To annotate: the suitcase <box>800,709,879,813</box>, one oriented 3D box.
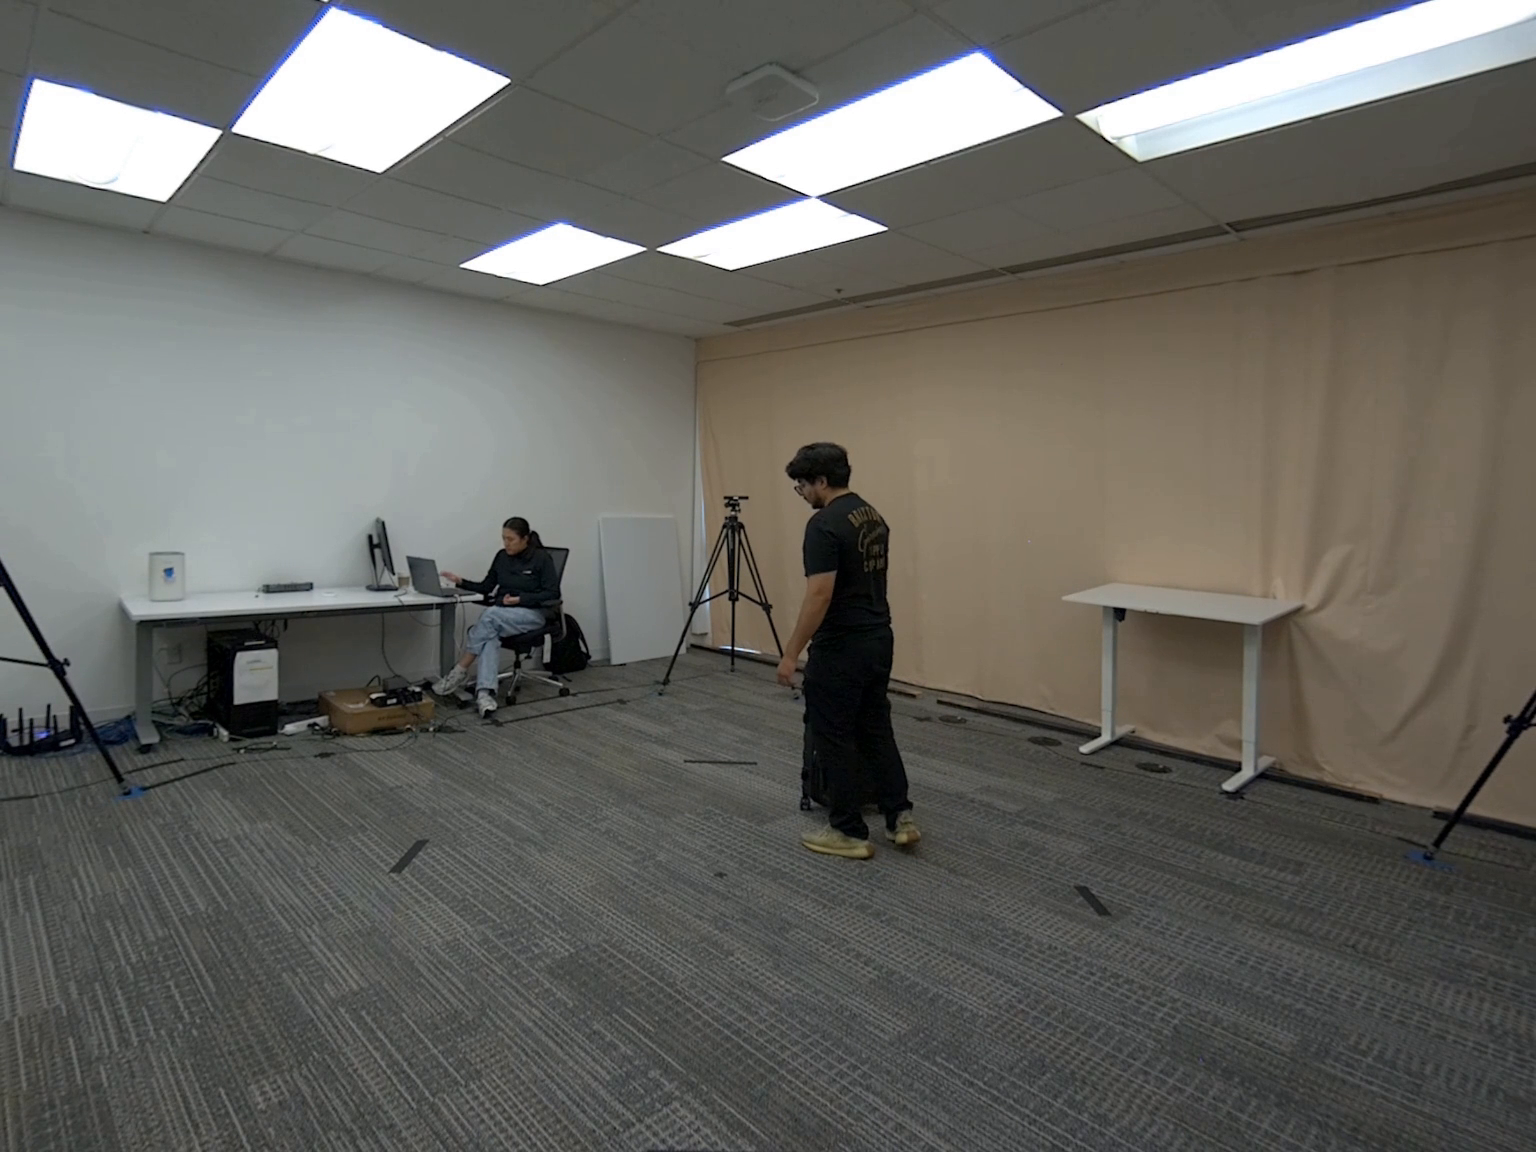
[{"bbox_3d":[0.364,0.580,3.785,0.376,0.976,0.263,1,3,-33],"label":"suitcase"}]
